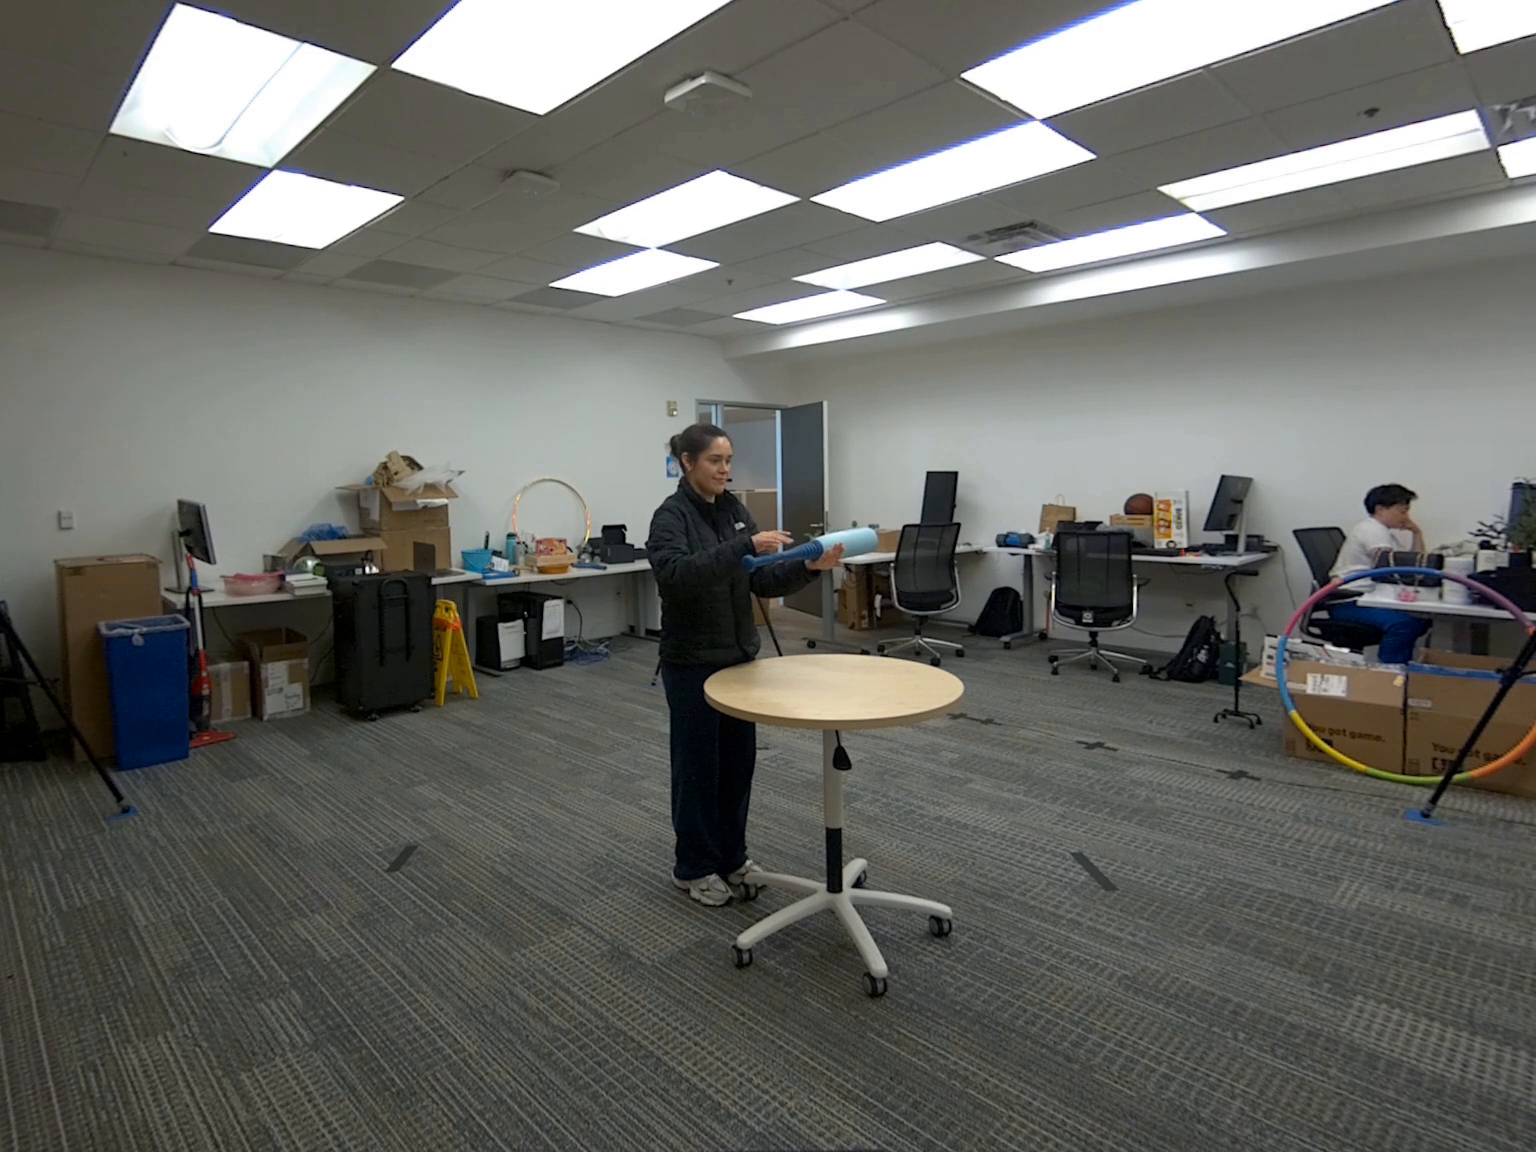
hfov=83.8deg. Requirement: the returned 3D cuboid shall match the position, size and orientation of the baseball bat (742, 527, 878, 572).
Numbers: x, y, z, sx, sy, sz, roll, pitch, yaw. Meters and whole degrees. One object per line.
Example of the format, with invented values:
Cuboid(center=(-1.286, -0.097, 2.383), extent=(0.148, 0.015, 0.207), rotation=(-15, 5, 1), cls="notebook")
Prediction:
Cuboid(center=(0.134, -0.078, 2.655), extent=(0.531, 0.088, 0.092), rotation=(-11, 10, -37), cls="baseball bat")
